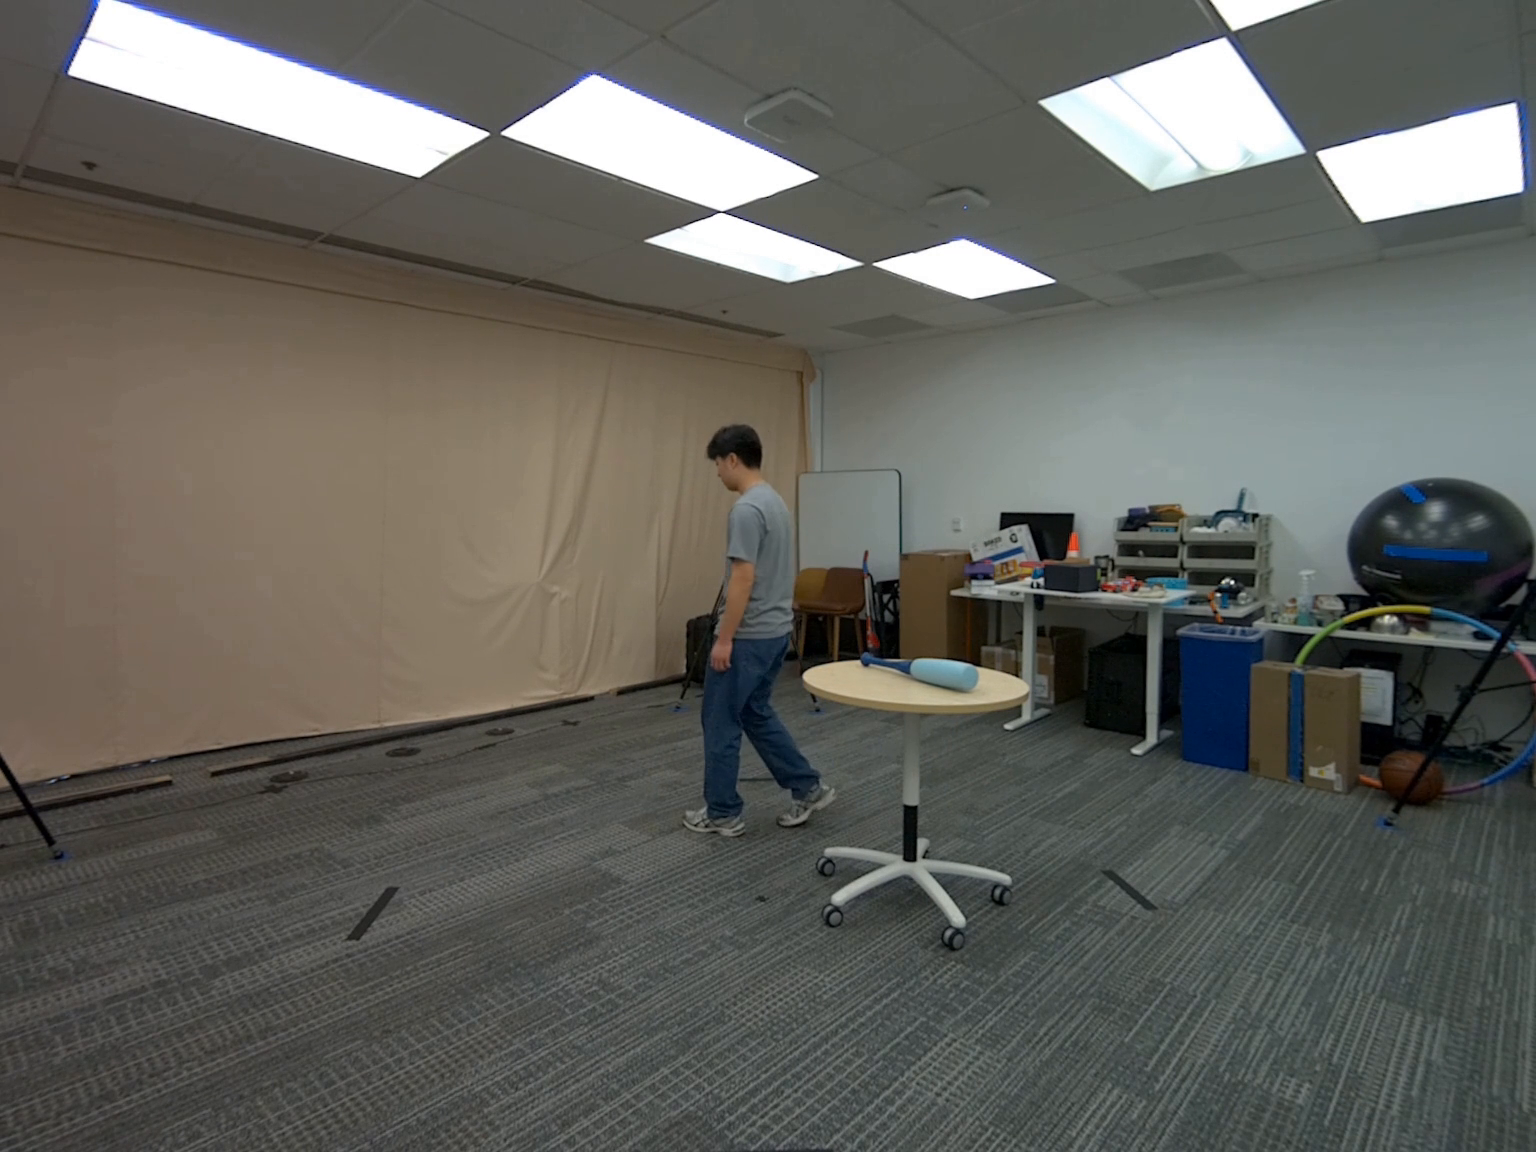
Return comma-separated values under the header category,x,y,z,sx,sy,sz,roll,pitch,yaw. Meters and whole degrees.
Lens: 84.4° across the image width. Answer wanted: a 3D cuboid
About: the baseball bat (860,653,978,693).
category,x,y,z,sx,sy,sz,roll,pitch,yaw
baseball bat,0.517,0.325,2.955,0.086,0.089,0.559,-2,2,-33
